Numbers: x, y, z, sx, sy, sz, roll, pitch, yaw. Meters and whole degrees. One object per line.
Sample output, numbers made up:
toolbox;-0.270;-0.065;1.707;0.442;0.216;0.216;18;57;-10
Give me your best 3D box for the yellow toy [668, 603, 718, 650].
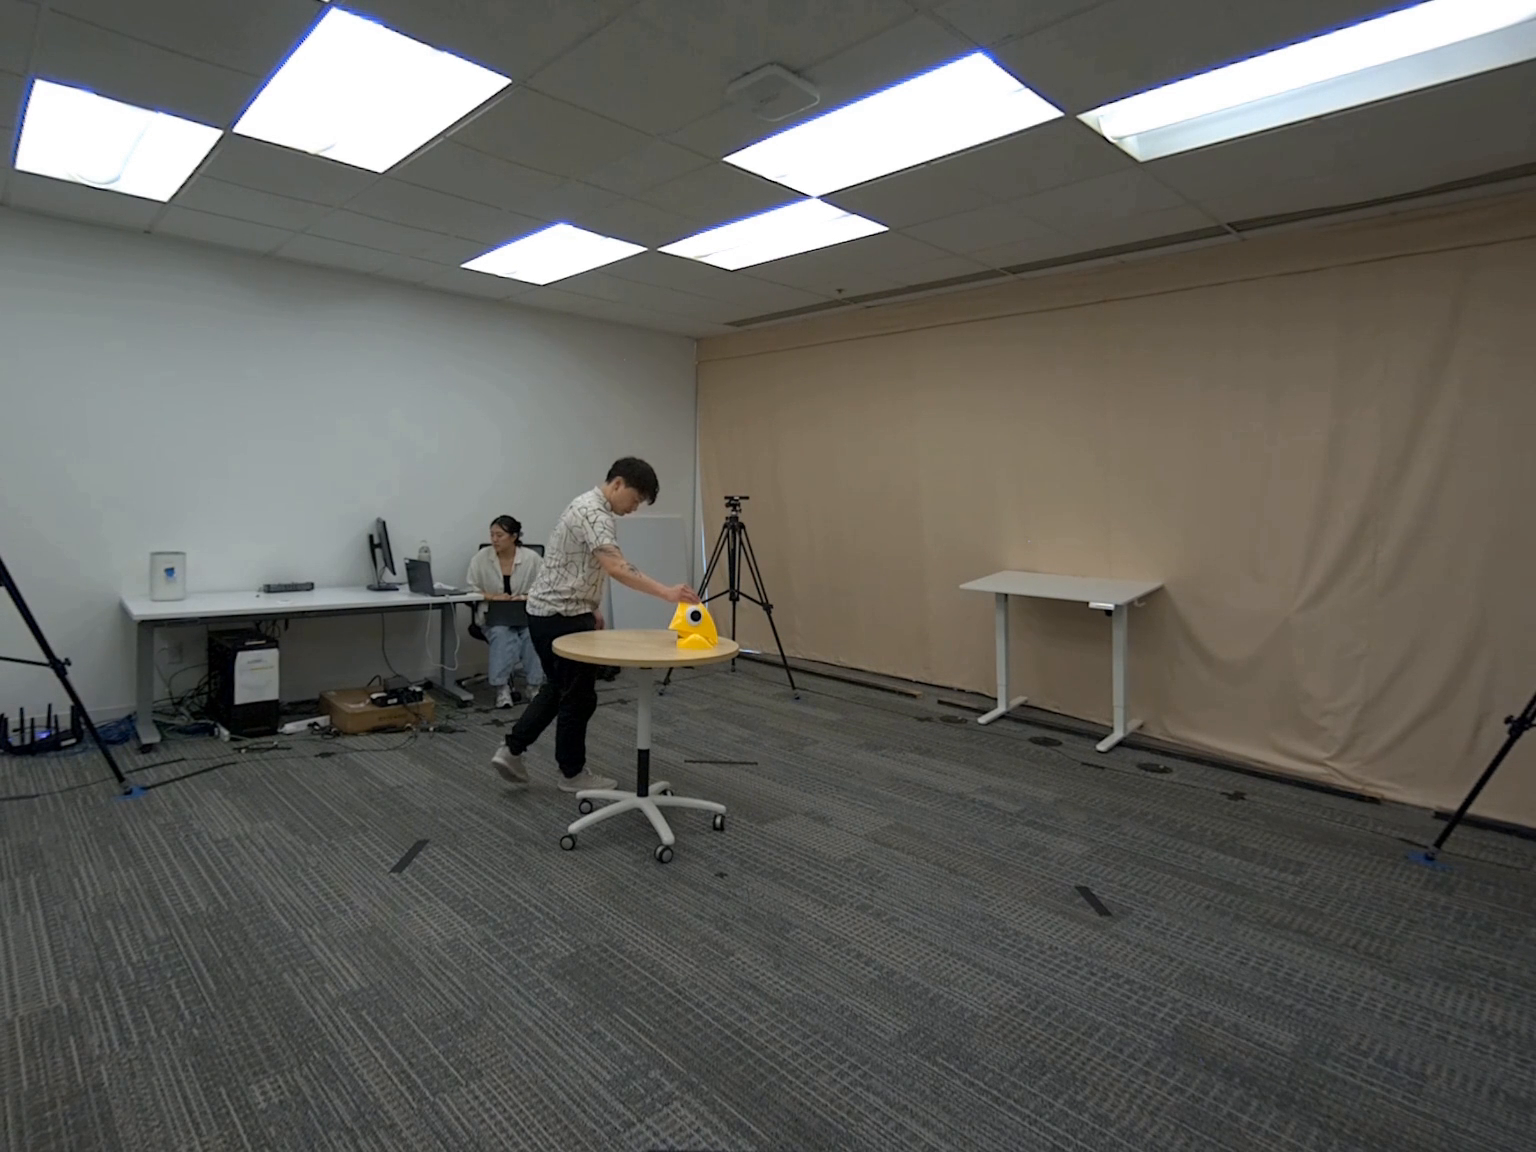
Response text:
yellow toy;-0.309;0.173;3.478;0.194;0.230;0.204;2;4;7
